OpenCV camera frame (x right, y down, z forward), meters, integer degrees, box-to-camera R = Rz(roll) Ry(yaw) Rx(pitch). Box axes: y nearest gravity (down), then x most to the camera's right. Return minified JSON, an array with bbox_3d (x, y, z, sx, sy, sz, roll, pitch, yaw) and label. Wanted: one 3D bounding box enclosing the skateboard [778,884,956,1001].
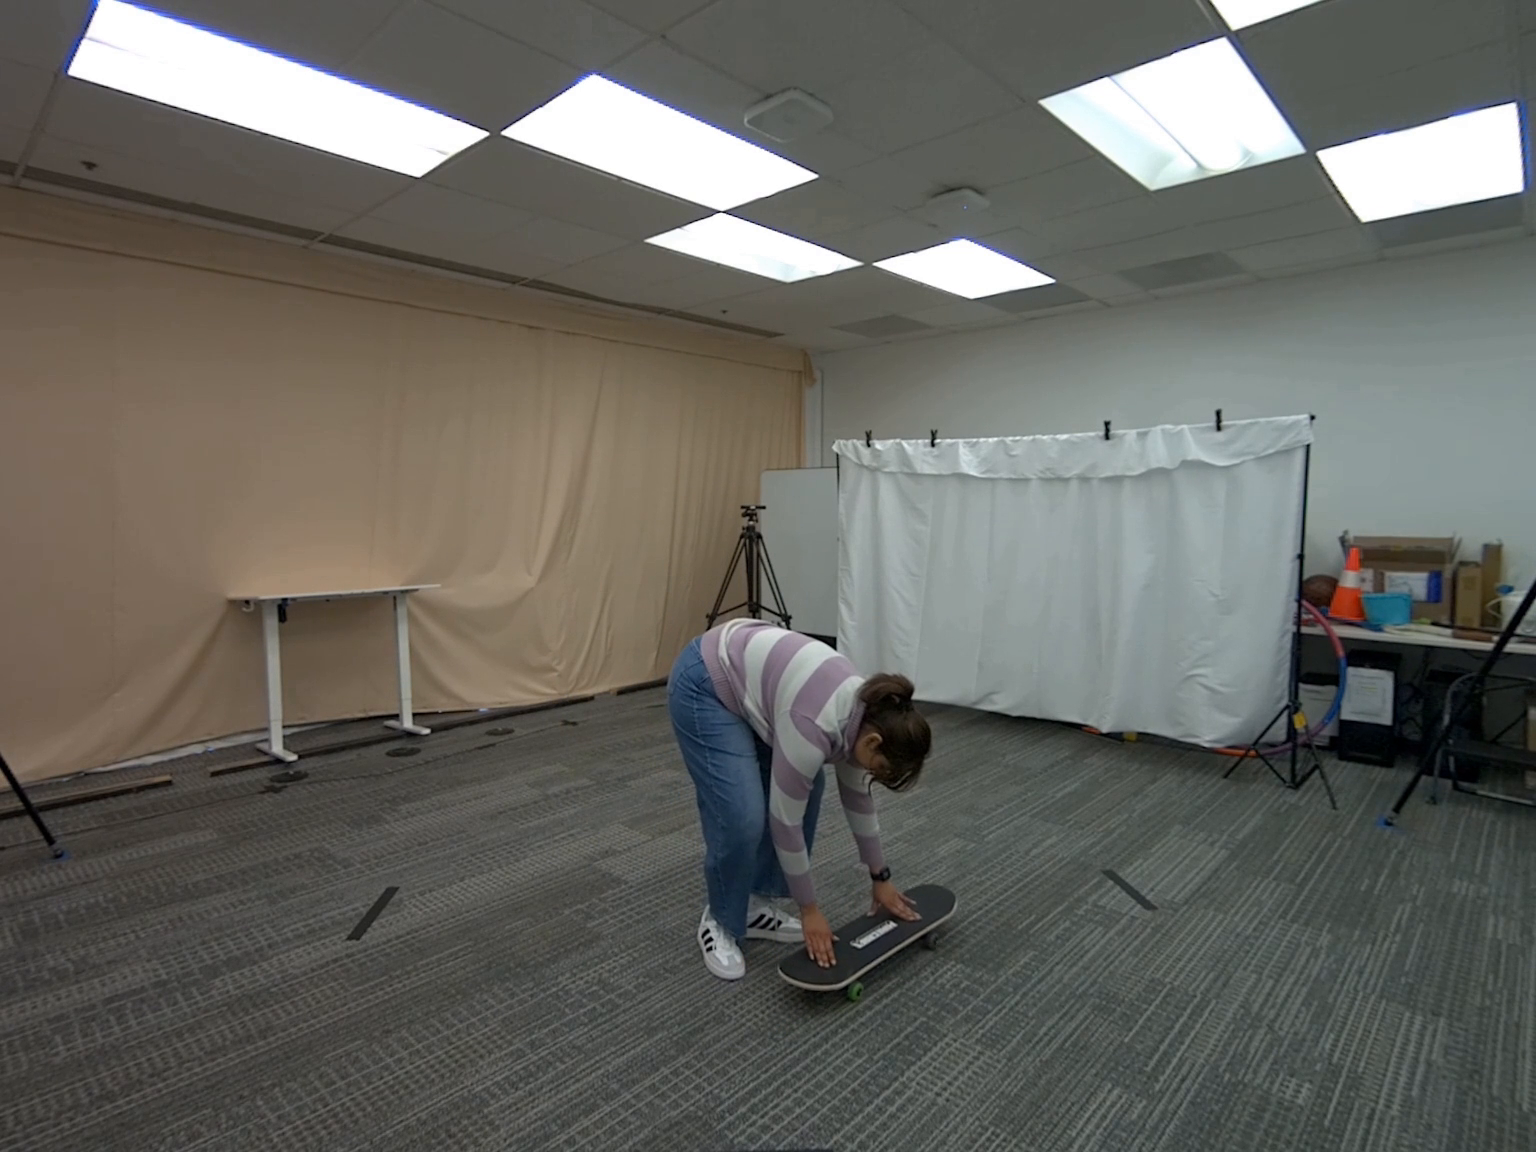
[{"bbox_3d":[0.325,1.122,2.563,0.200,0.110,0.761,5,6,44],"label":"skateboard"}]
